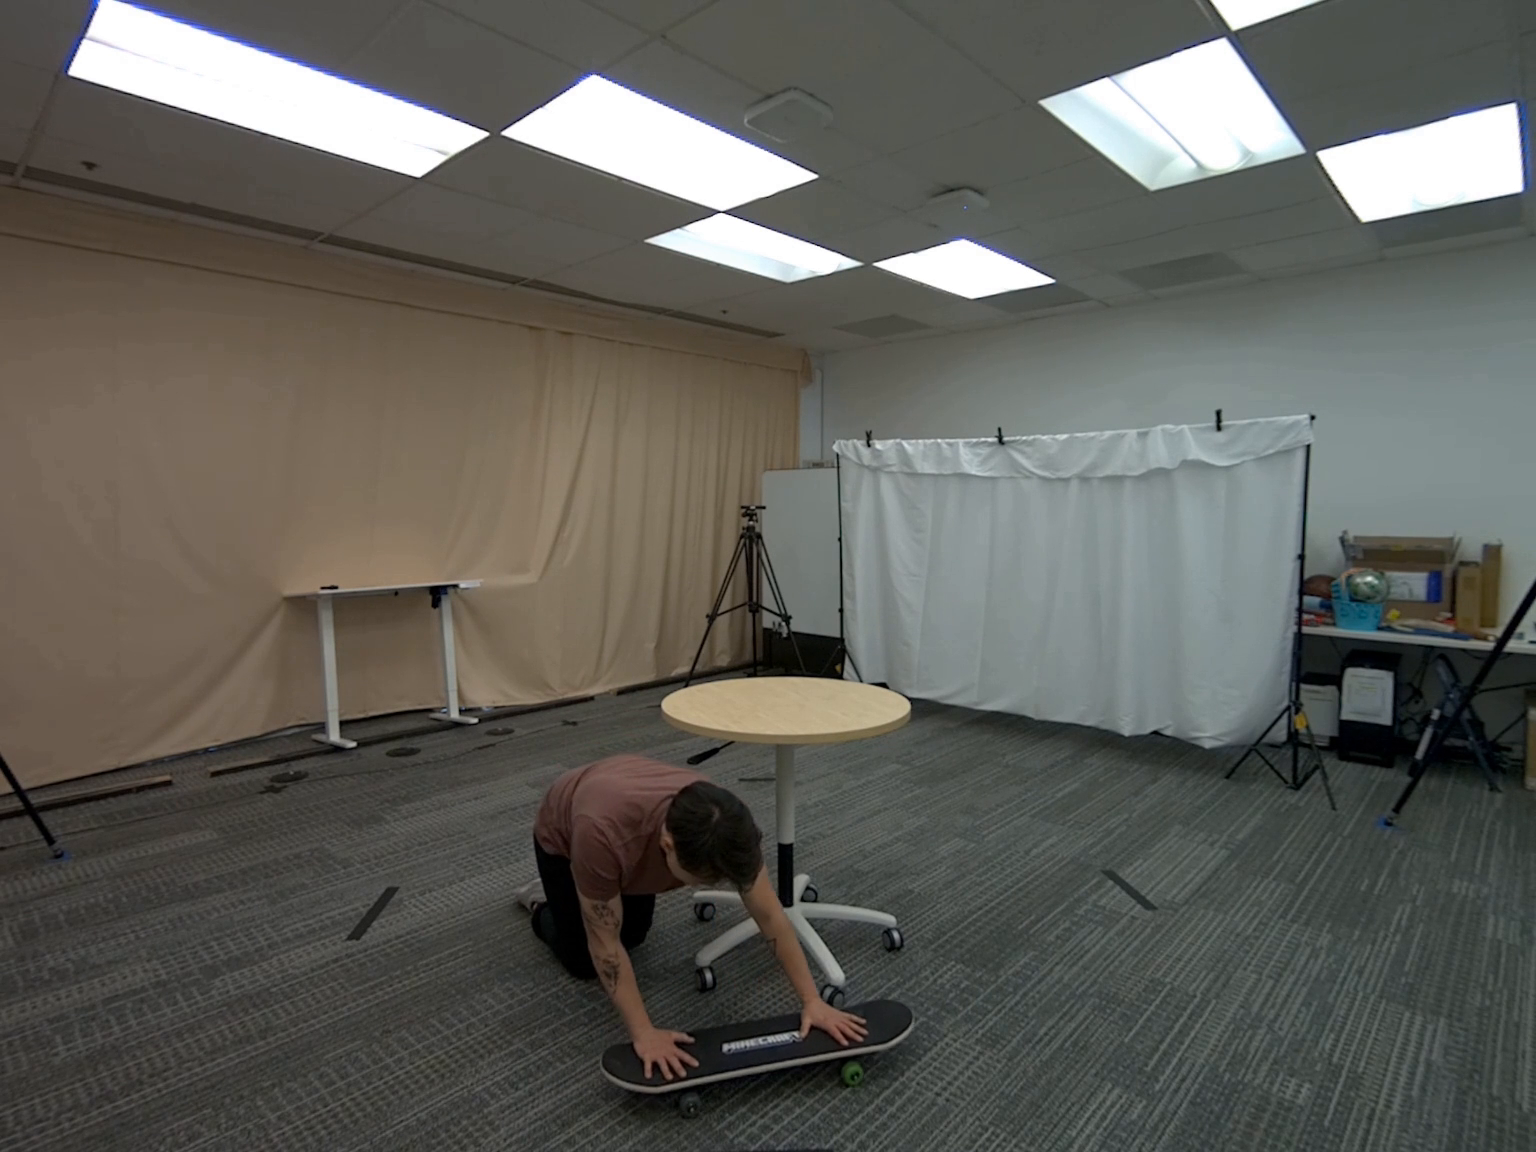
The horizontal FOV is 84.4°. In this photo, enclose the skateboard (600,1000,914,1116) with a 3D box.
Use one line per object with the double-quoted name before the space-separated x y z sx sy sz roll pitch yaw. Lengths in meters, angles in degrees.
"skateboard" 0.000 1.160 2.051 0.773 0.110 0.197 -2 4 -15
